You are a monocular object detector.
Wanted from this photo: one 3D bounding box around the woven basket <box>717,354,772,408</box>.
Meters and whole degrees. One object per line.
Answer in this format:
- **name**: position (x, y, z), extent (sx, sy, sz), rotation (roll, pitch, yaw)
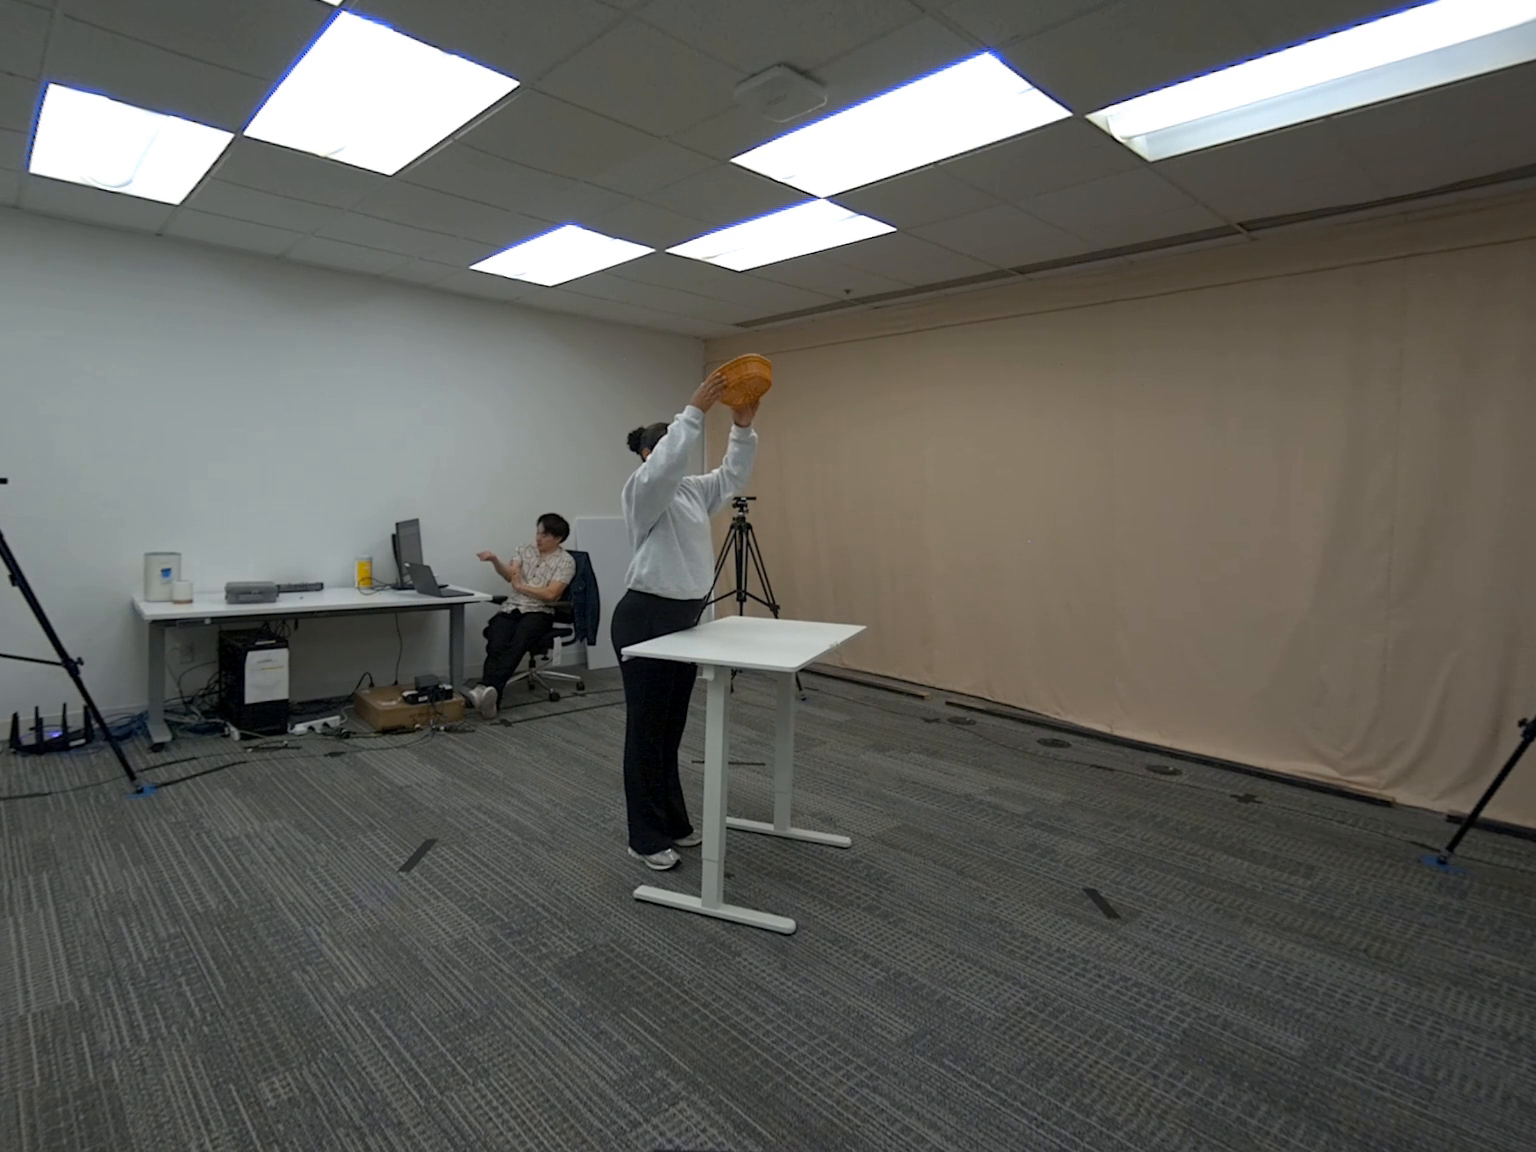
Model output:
- **woven basket**: position (-0.105, -0.680, 3.077), extent (0.253, 0.074, 0.344), rotation (-34, -10, 23)
